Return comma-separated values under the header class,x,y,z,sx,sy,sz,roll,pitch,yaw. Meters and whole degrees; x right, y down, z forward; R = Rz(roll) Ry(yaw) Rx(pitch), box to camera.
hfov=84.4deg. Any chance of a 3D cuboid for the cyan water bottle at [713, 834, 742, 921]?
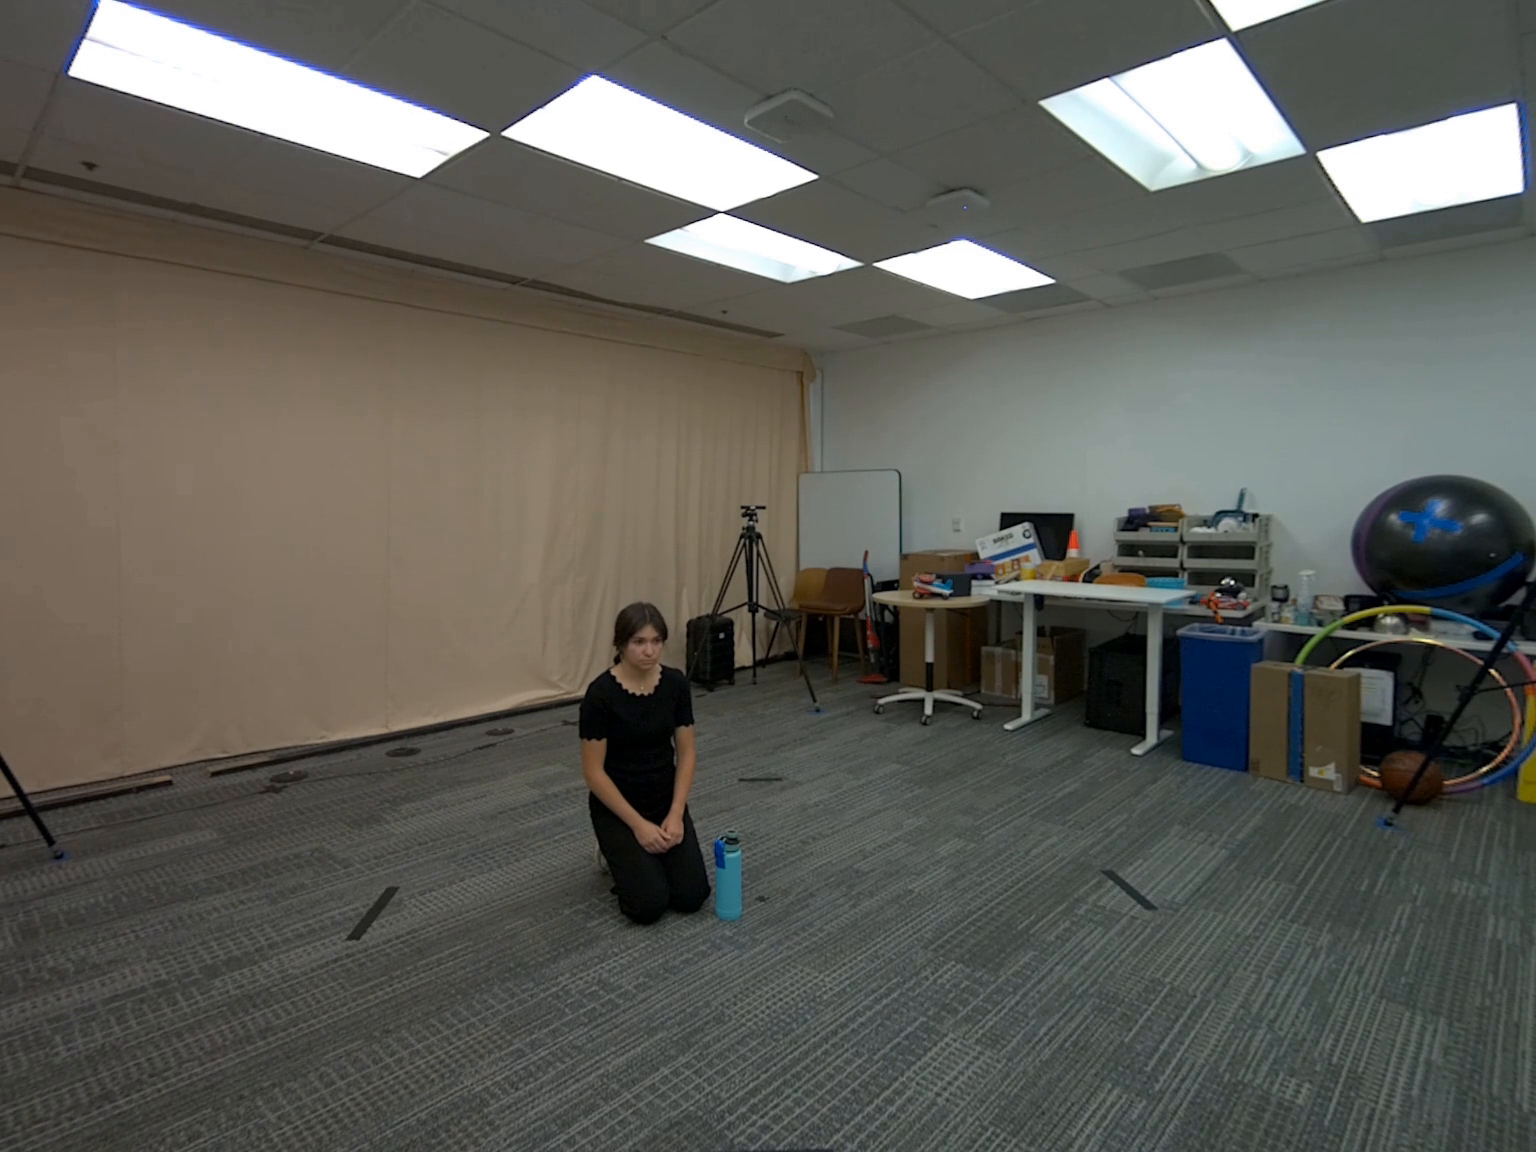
class,x,y,z,sx,sy,sz,roll,pitch,yaw
cyan water bottle,-0.137,1.017,2.858,0.092,0.283,0.092,-1,3,-2
